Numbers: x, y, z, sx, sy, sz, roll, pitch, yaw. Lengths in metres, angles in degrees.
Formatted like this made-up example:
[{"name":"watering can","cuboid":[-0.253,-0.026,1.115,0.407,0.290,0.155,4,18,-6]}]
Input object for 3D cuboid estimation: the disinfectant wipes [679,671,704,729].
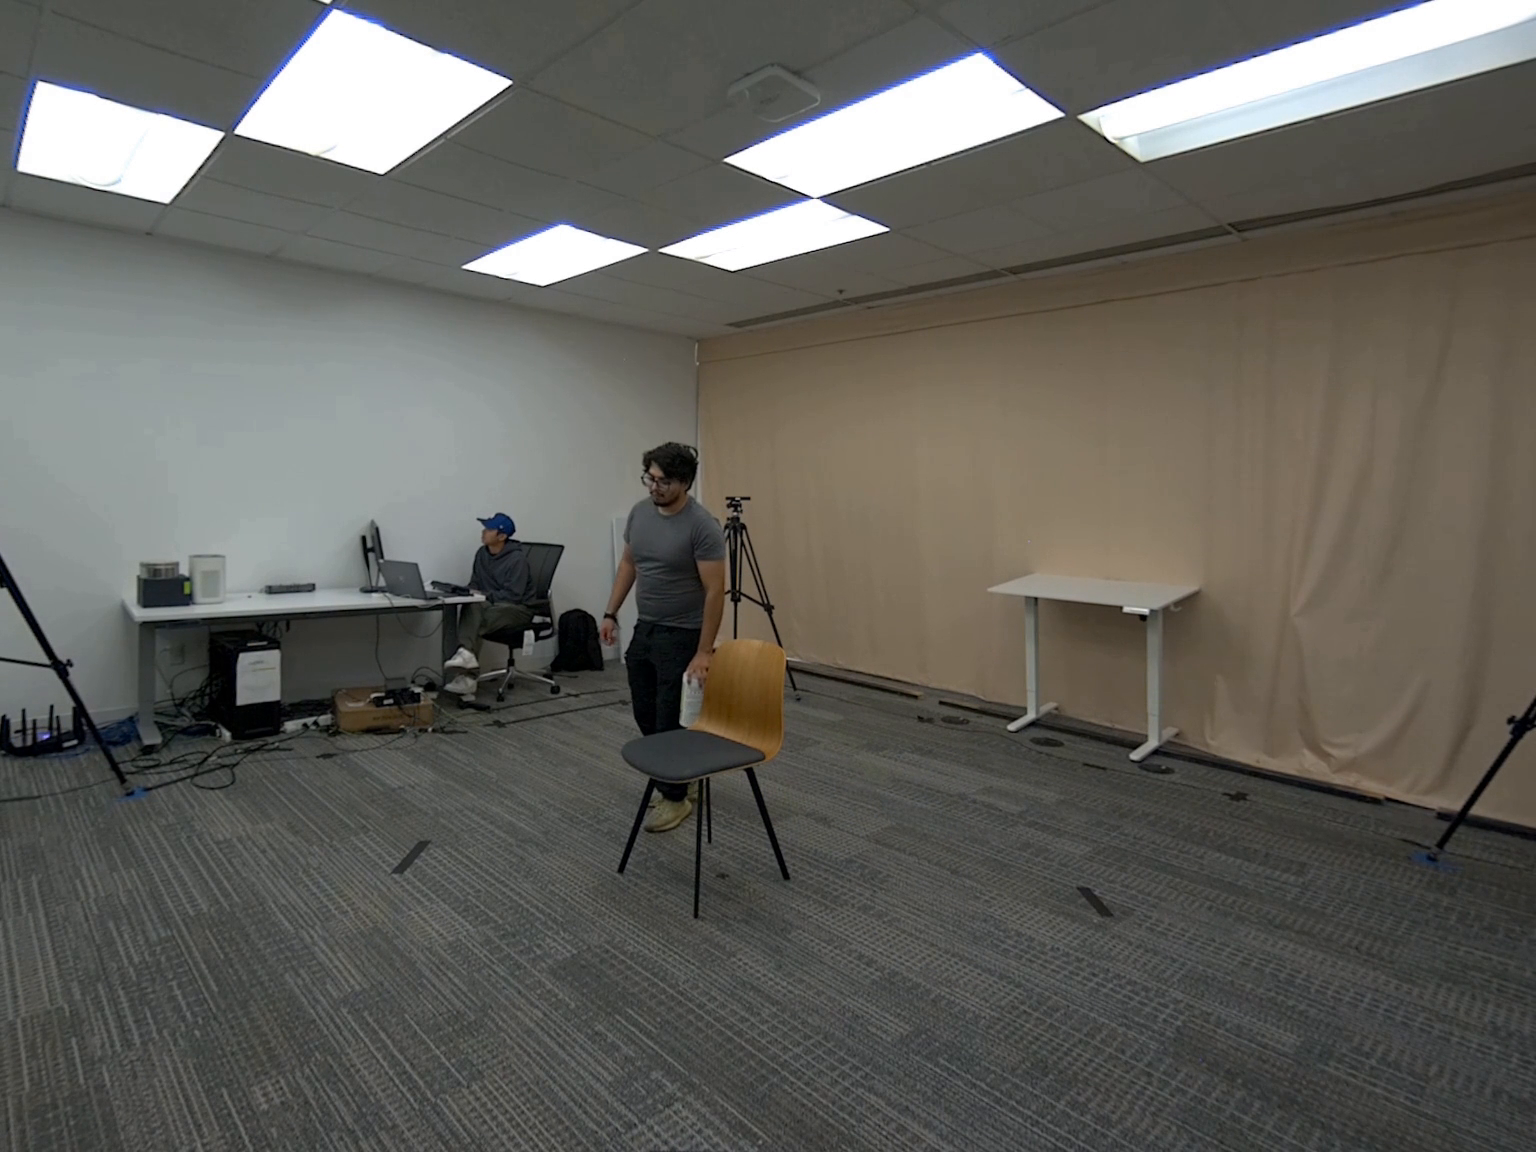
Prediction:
[{"name":"disinfectant wipes","cuboid":[-0.310,0.507,3.438,0.117,0.216,0.119,7,10,-3]}]
